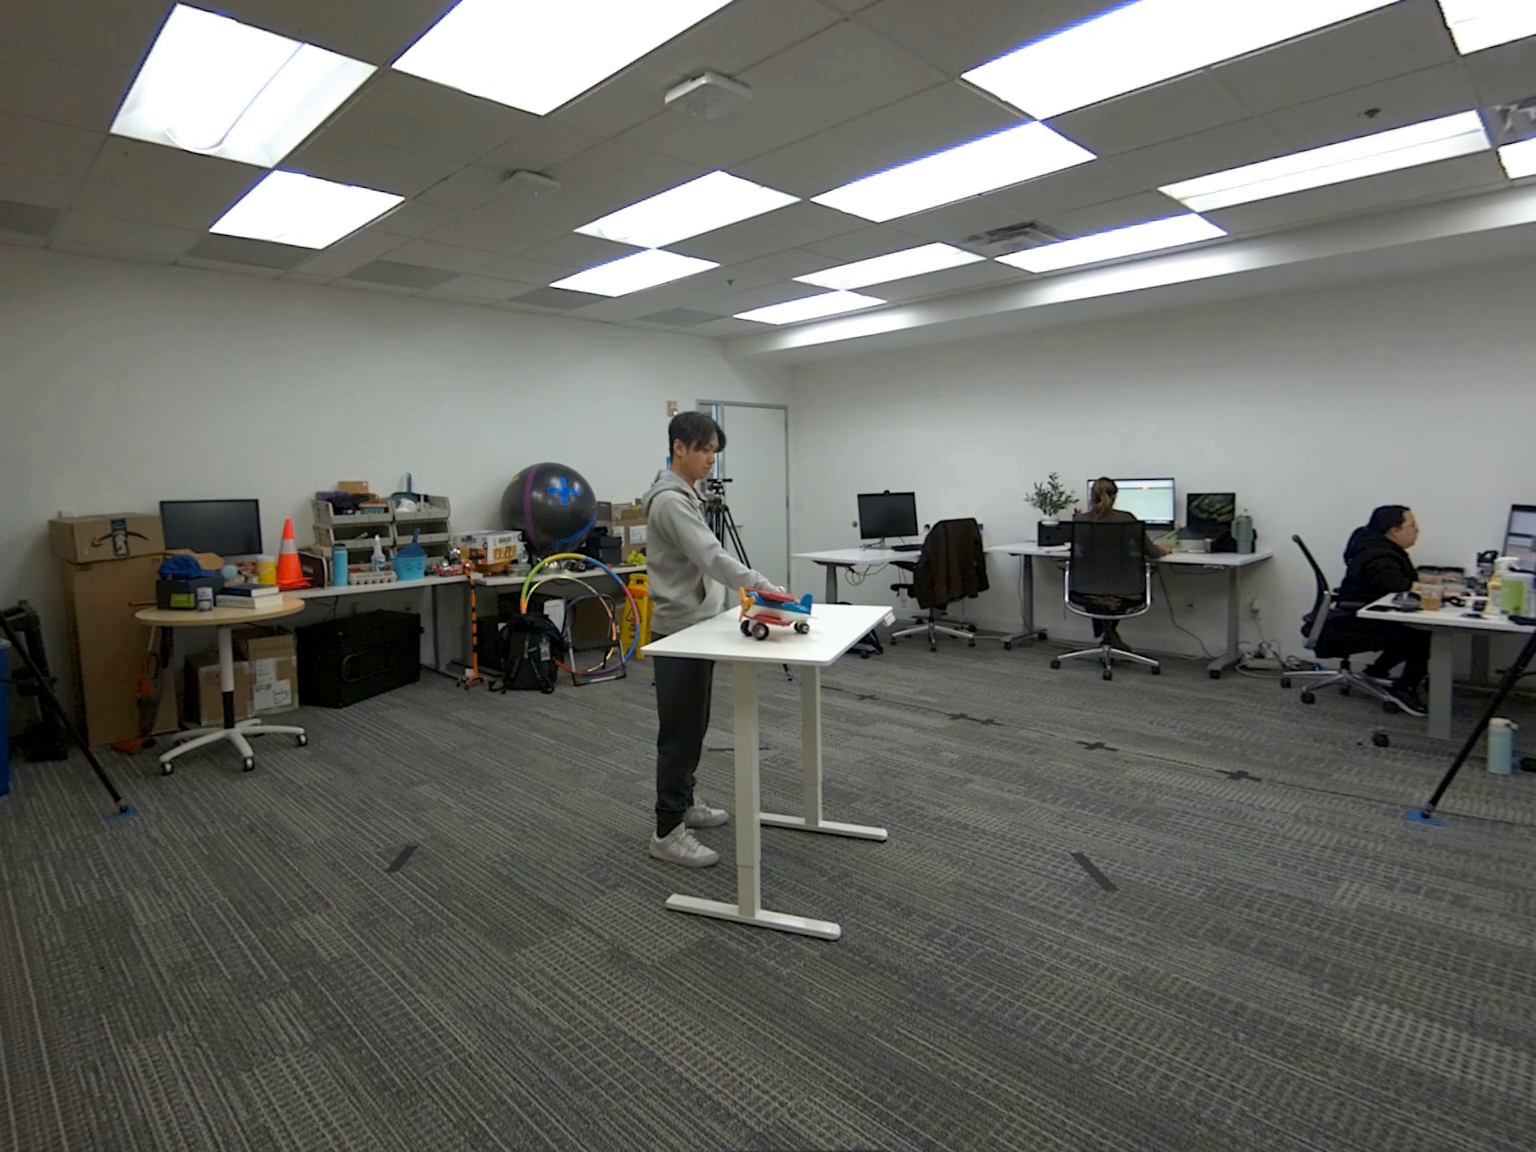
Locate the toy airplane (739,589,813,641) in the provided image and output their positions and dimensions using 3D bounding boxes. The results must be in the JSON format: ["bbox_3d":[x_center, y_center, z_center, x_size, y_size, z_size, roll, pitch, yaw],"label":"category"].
[{"bbox_3d":[0.026,0.118,2.818,0.258,0.156,0.253,3,8,37],"label":"toy airplane"}]
